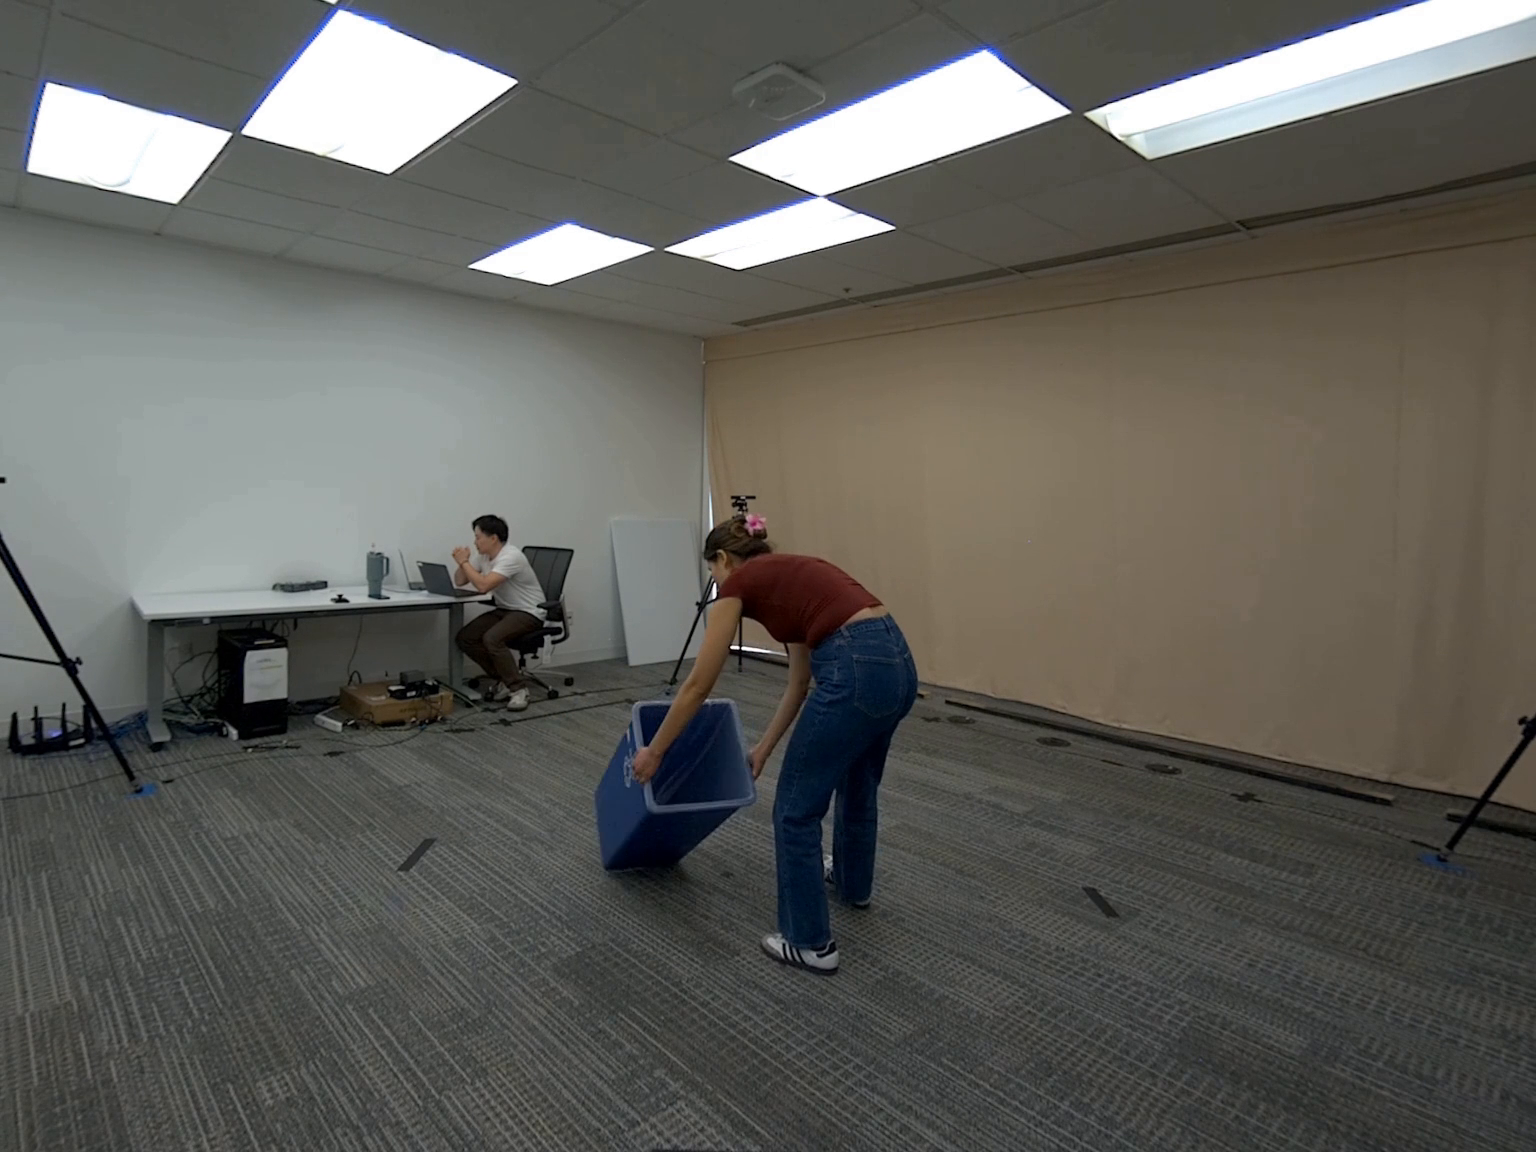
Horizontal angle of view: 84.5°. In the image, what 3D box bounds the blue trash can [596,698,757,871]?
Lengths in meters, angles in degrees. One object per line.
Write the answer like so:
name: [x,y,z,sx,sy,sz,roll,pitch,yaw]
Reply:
blue trash can: [-0.361,0.769,2.966,0.371,0.384,0.708,2,-37,-25]
